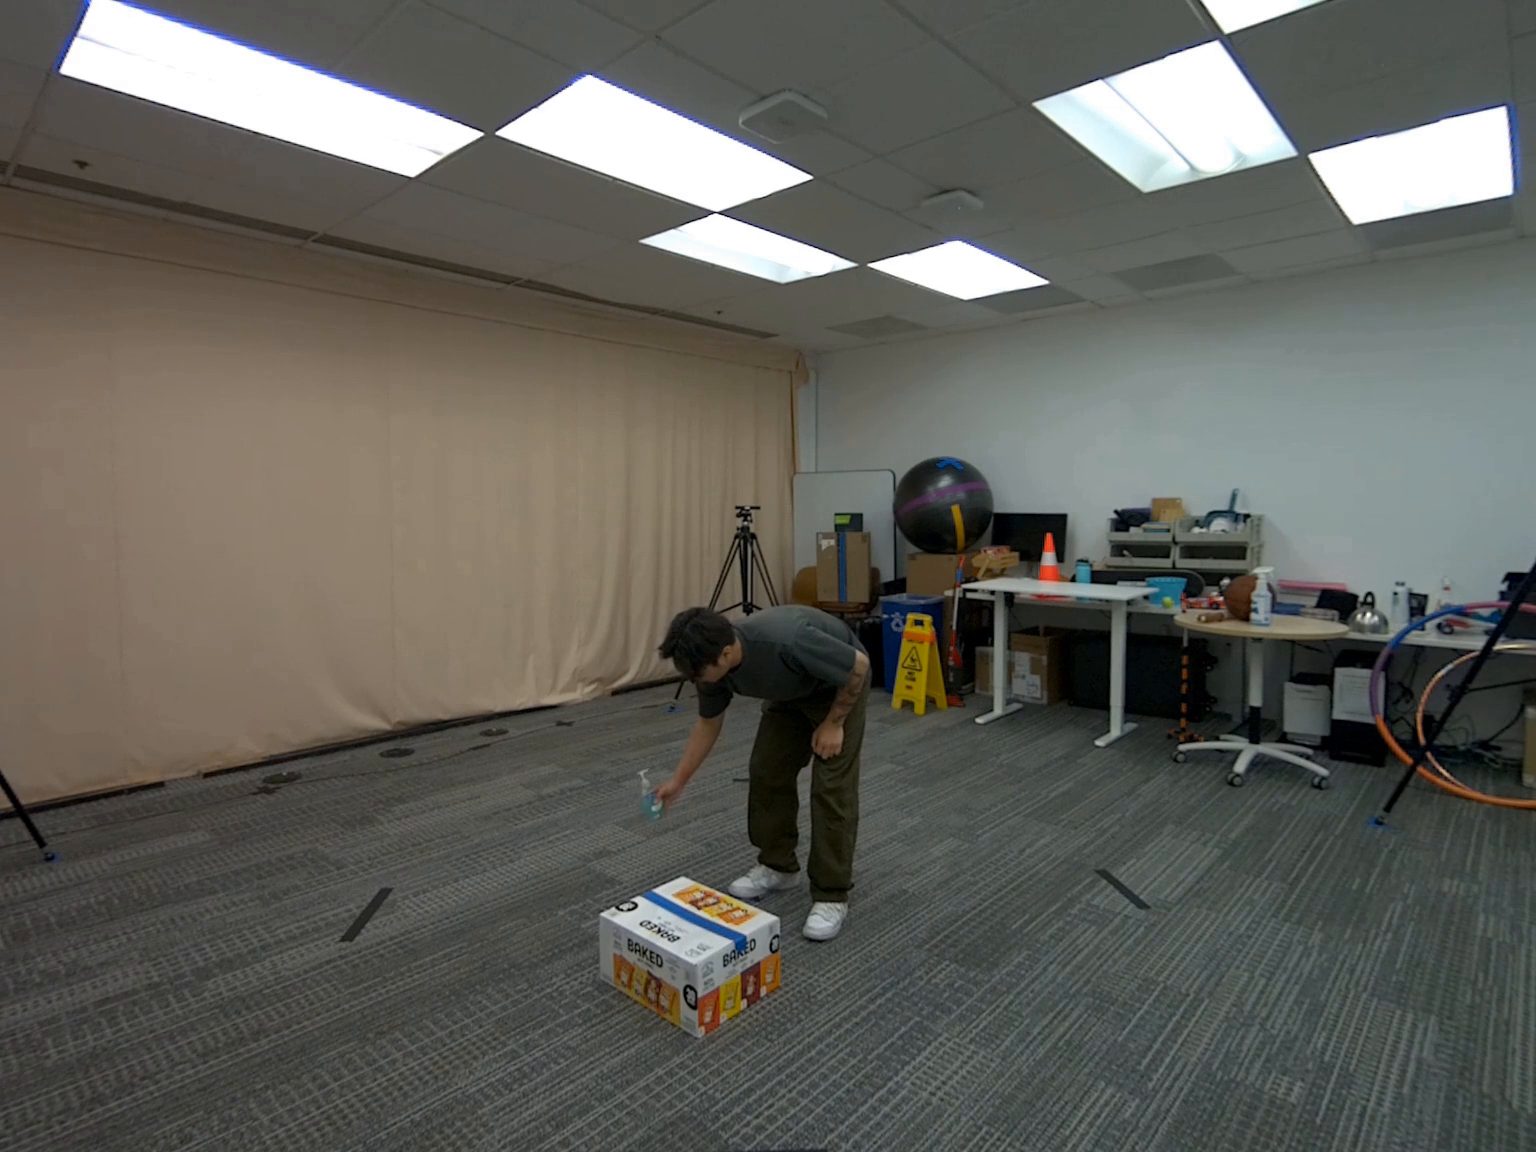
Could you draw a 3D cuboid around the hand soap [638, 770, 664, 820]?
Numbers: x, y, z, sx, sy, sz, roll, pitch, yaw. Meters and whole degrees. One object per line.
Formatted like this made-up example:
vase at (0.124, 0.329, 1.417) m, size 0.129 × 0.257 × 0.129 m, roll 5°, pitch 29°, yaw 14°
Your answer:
hand soap at (-0.414, 0.770, 2.950) m, size 0.044 × 0.168 × 0.082 m, roll -19°, pitch 0°, yaw 42°
